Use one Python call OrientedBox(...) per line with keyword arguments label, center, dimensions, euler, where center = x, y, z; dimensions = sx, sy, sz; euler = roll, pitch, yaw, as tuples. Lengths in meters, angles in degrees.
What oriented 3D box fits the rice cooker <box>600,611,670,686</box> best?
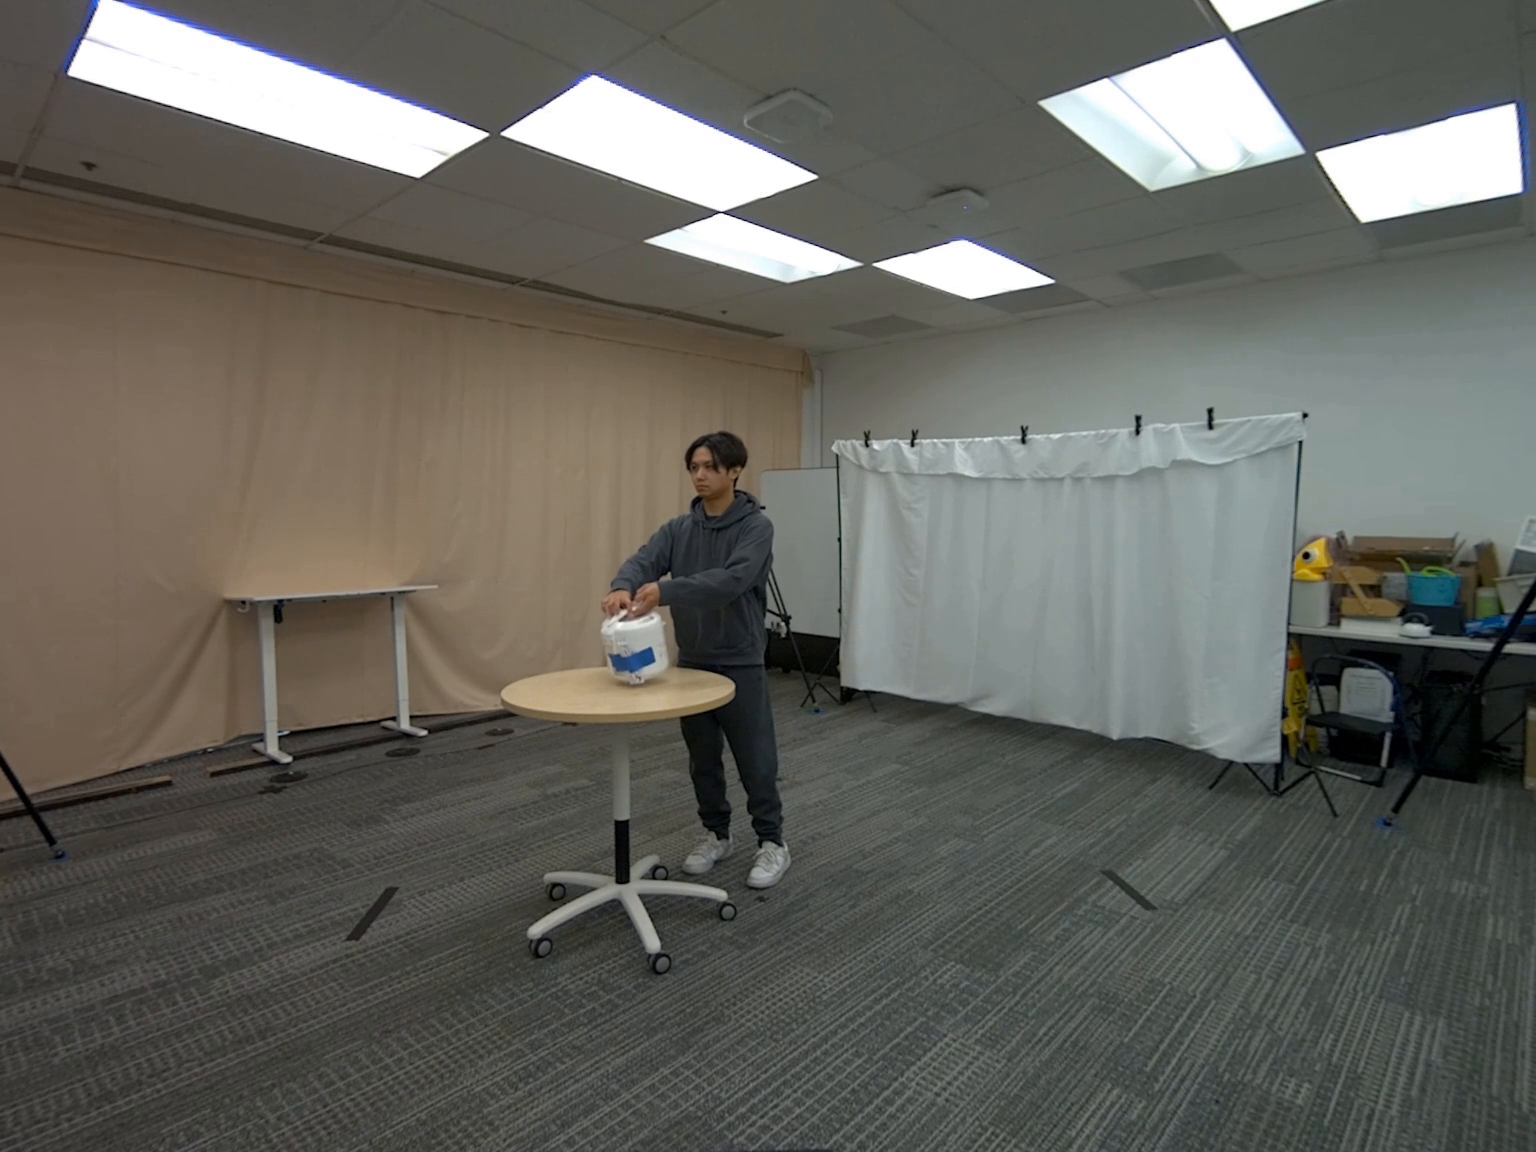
OrientedBox(label="rice cooker", center=(-0.450, 0.217, 2.820), dimensions=(0.215, 0.230, 0.225), euler=(-17, 17, -40))
